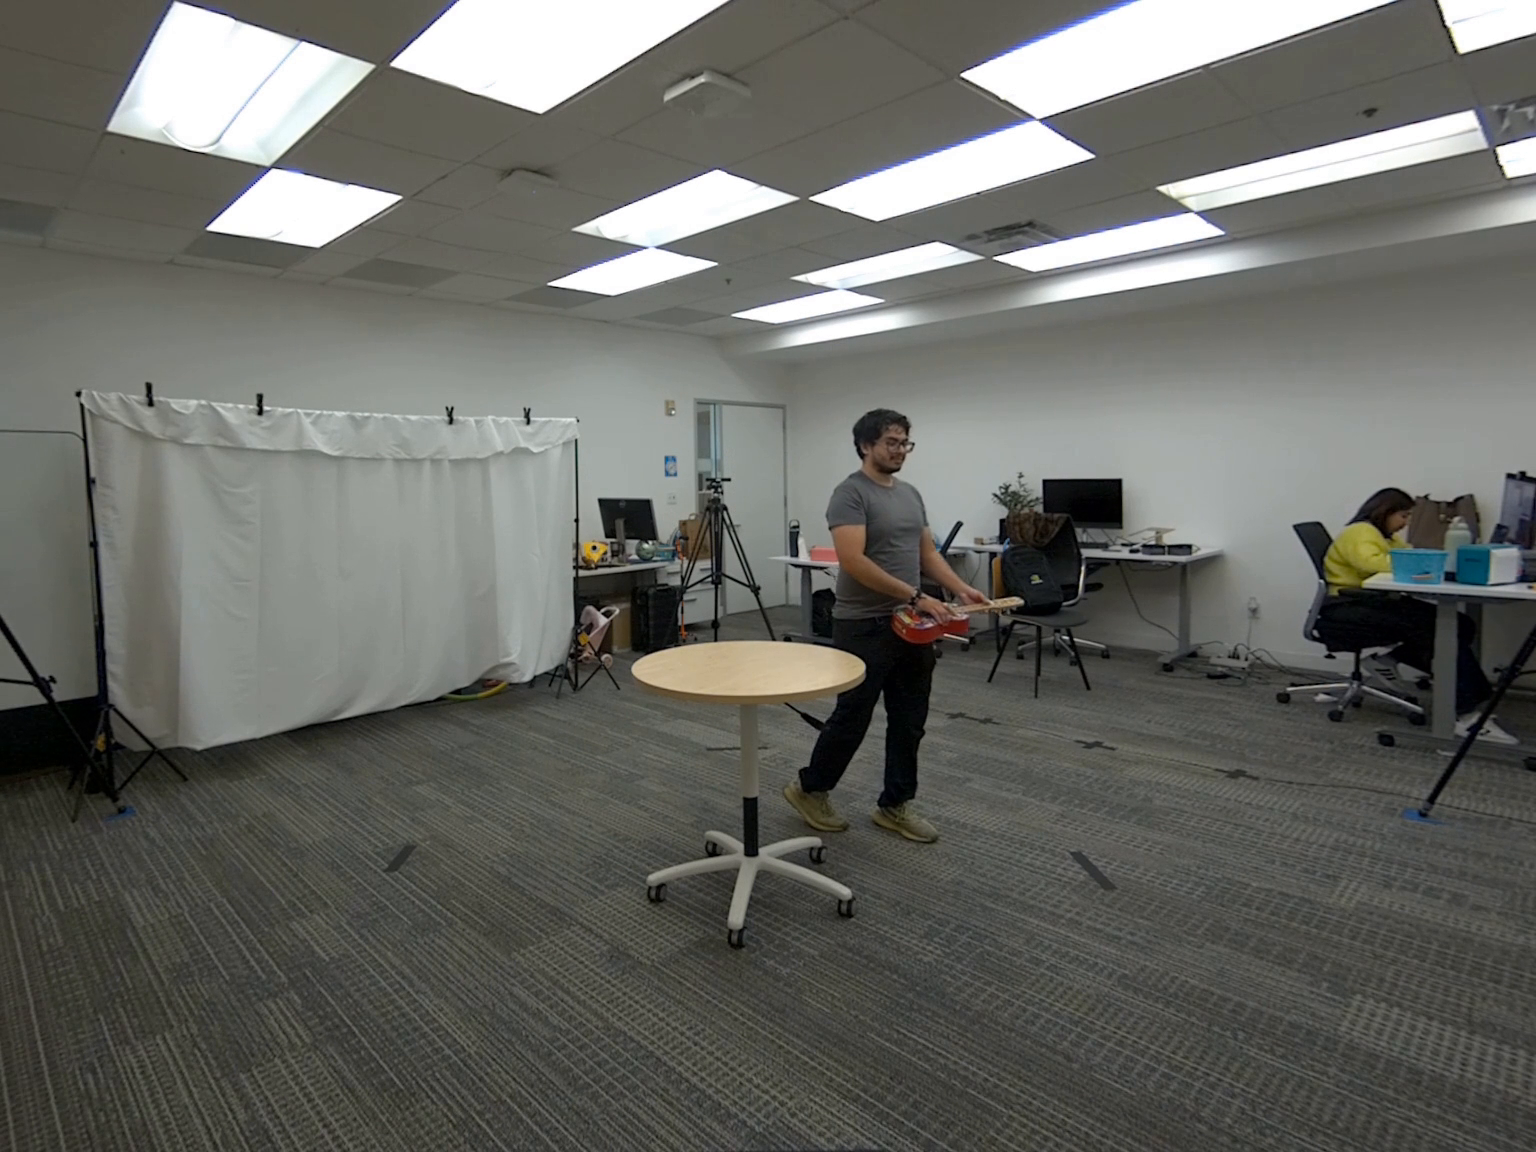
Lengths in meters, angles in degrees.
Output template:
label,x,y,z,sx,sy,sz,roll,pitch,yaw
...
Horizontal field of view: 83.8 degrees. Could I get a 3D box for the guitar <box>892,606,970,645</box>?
label,x,y,z,sx,sy,sz,roll,pitch,yaw
guitar,0.694,0.160,3.087,0.495,0.069,0.198,-2,27,-5
